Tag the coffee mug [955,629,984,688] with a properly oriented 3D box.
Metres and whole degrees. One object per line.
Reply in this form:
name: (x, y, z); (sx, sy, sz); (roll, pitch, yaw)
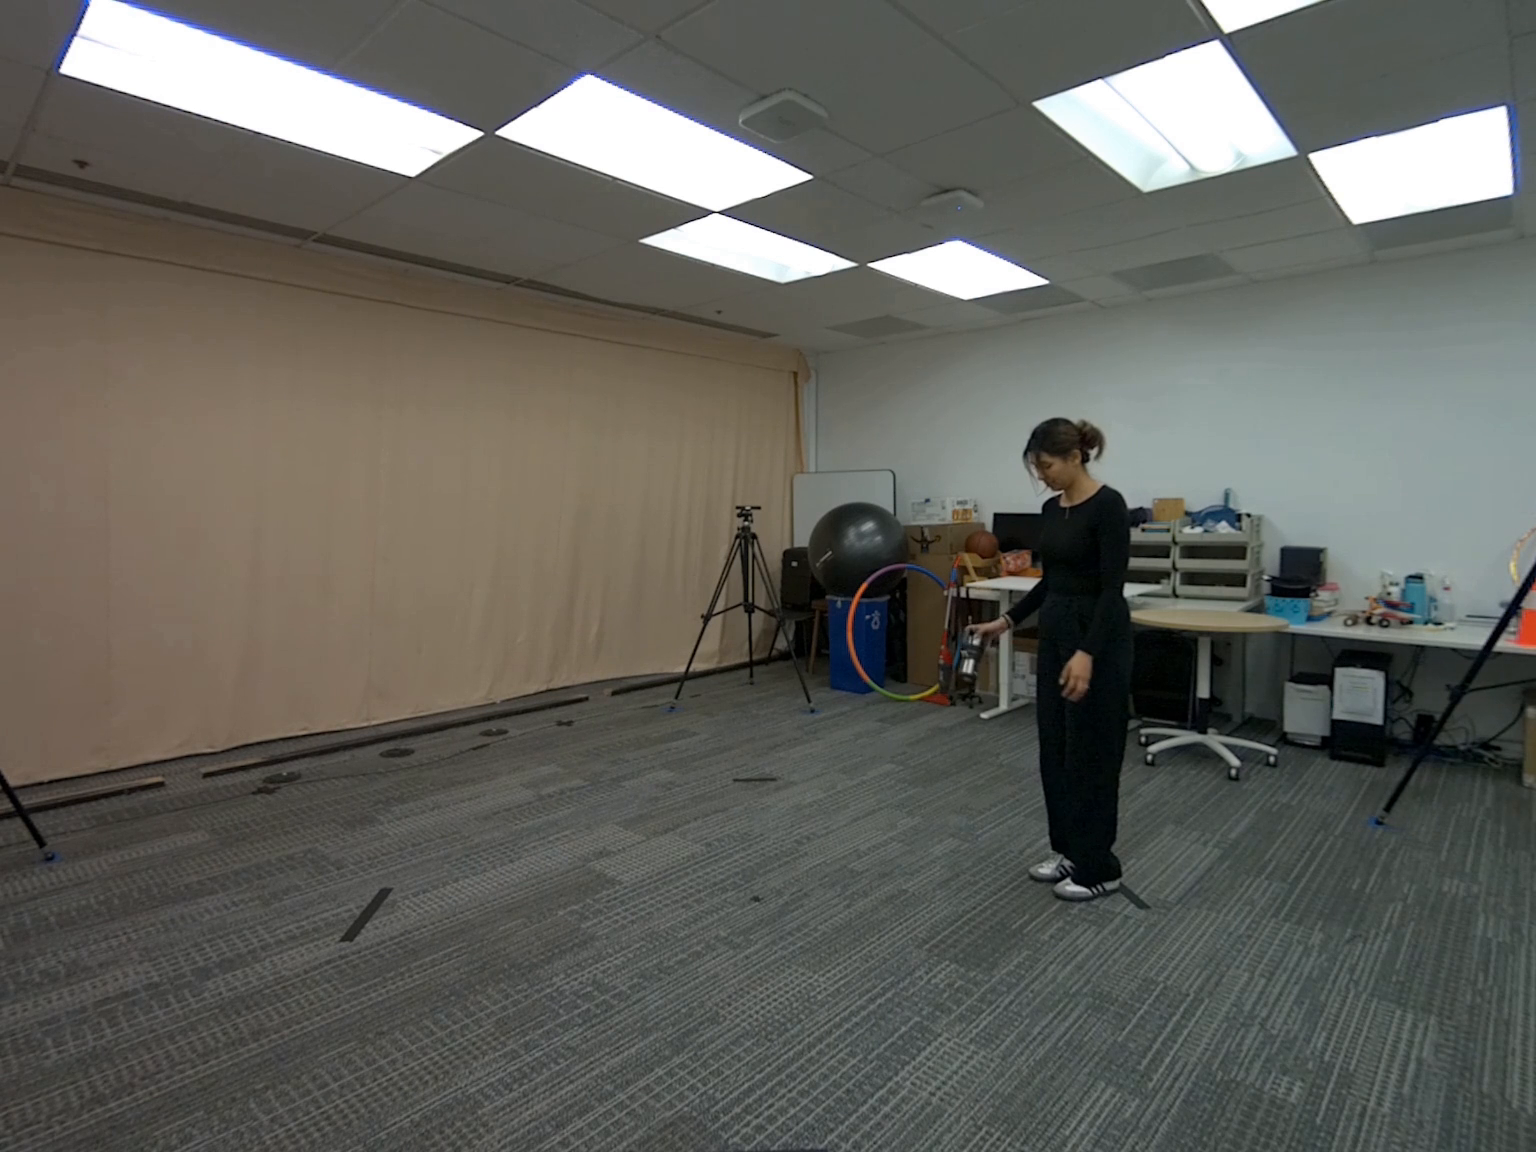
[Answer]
coffee mug: (0.810, 0.295, 3.295); (0.118, 0.204, 0.090); (29, -22, -37)
